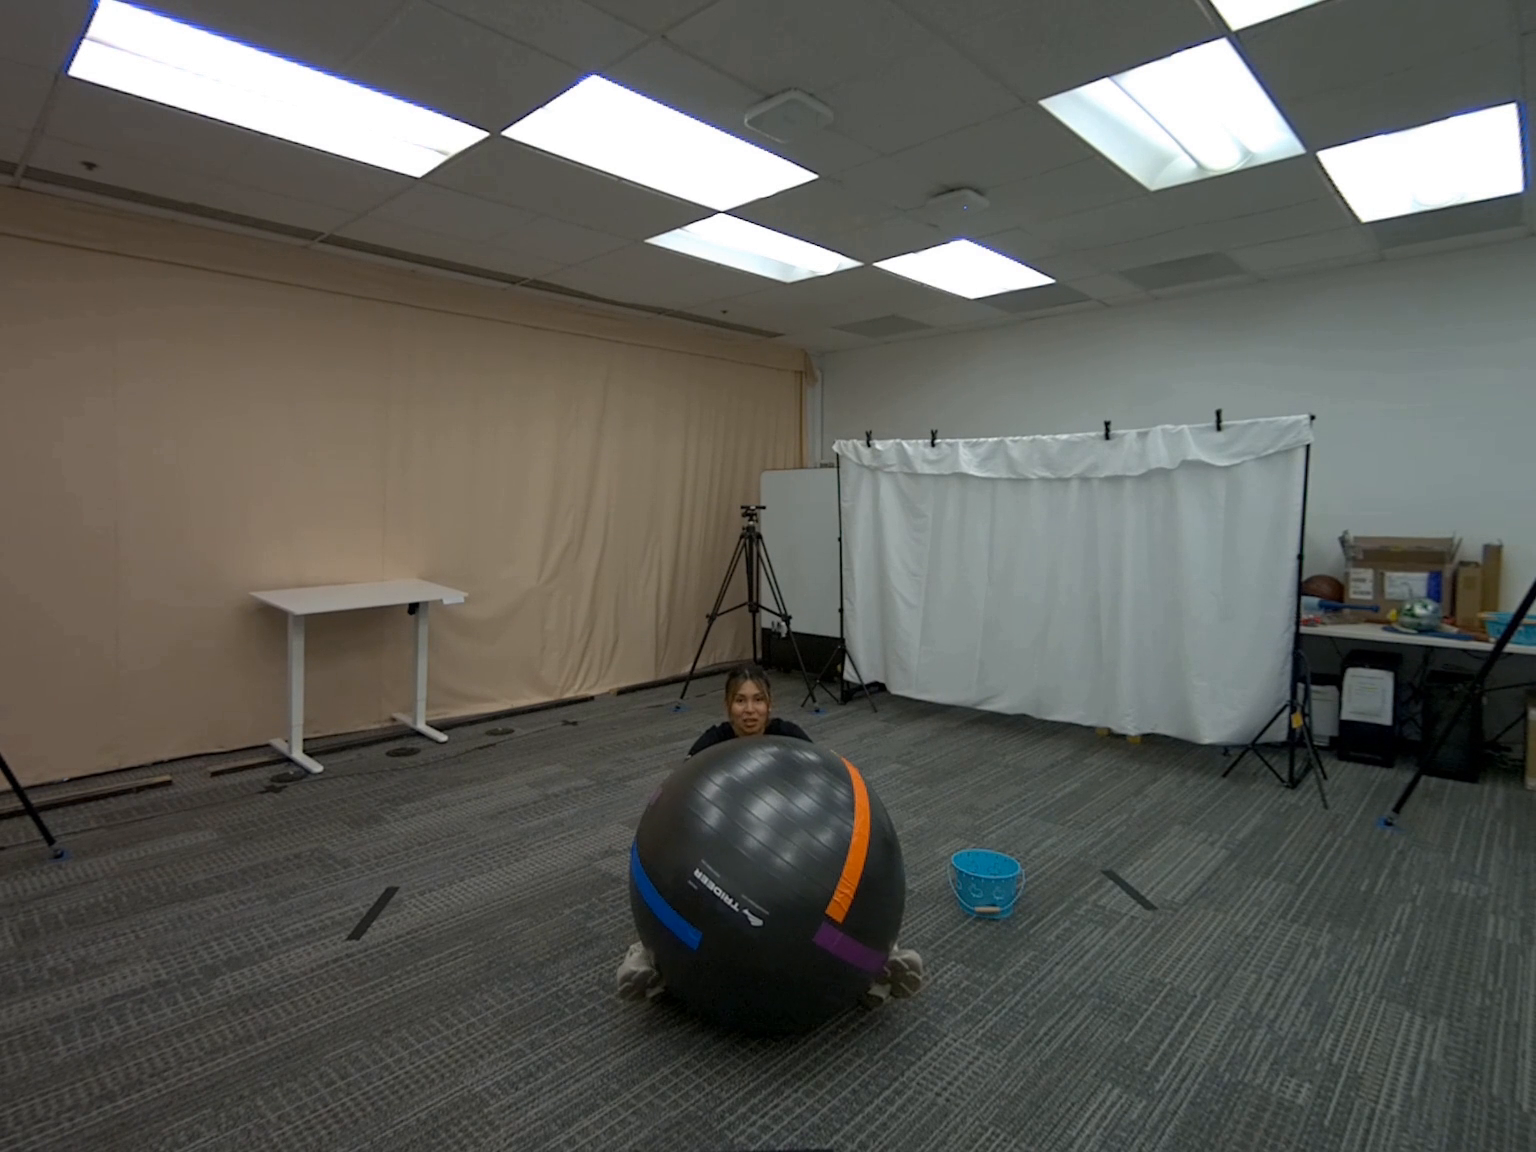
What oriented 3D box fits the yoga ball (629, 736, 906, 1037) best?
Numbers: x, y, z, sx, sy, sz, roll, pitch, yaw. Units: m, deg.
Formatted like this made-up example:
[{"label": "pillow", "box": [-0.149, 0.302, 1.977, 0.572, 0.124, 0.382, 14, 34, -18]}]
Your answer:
[{"label": "yoga ball", "box": [-0.004, 0.832, 2.308, 0.757, 0.756, 0.760, 0, 4, -2]}]
